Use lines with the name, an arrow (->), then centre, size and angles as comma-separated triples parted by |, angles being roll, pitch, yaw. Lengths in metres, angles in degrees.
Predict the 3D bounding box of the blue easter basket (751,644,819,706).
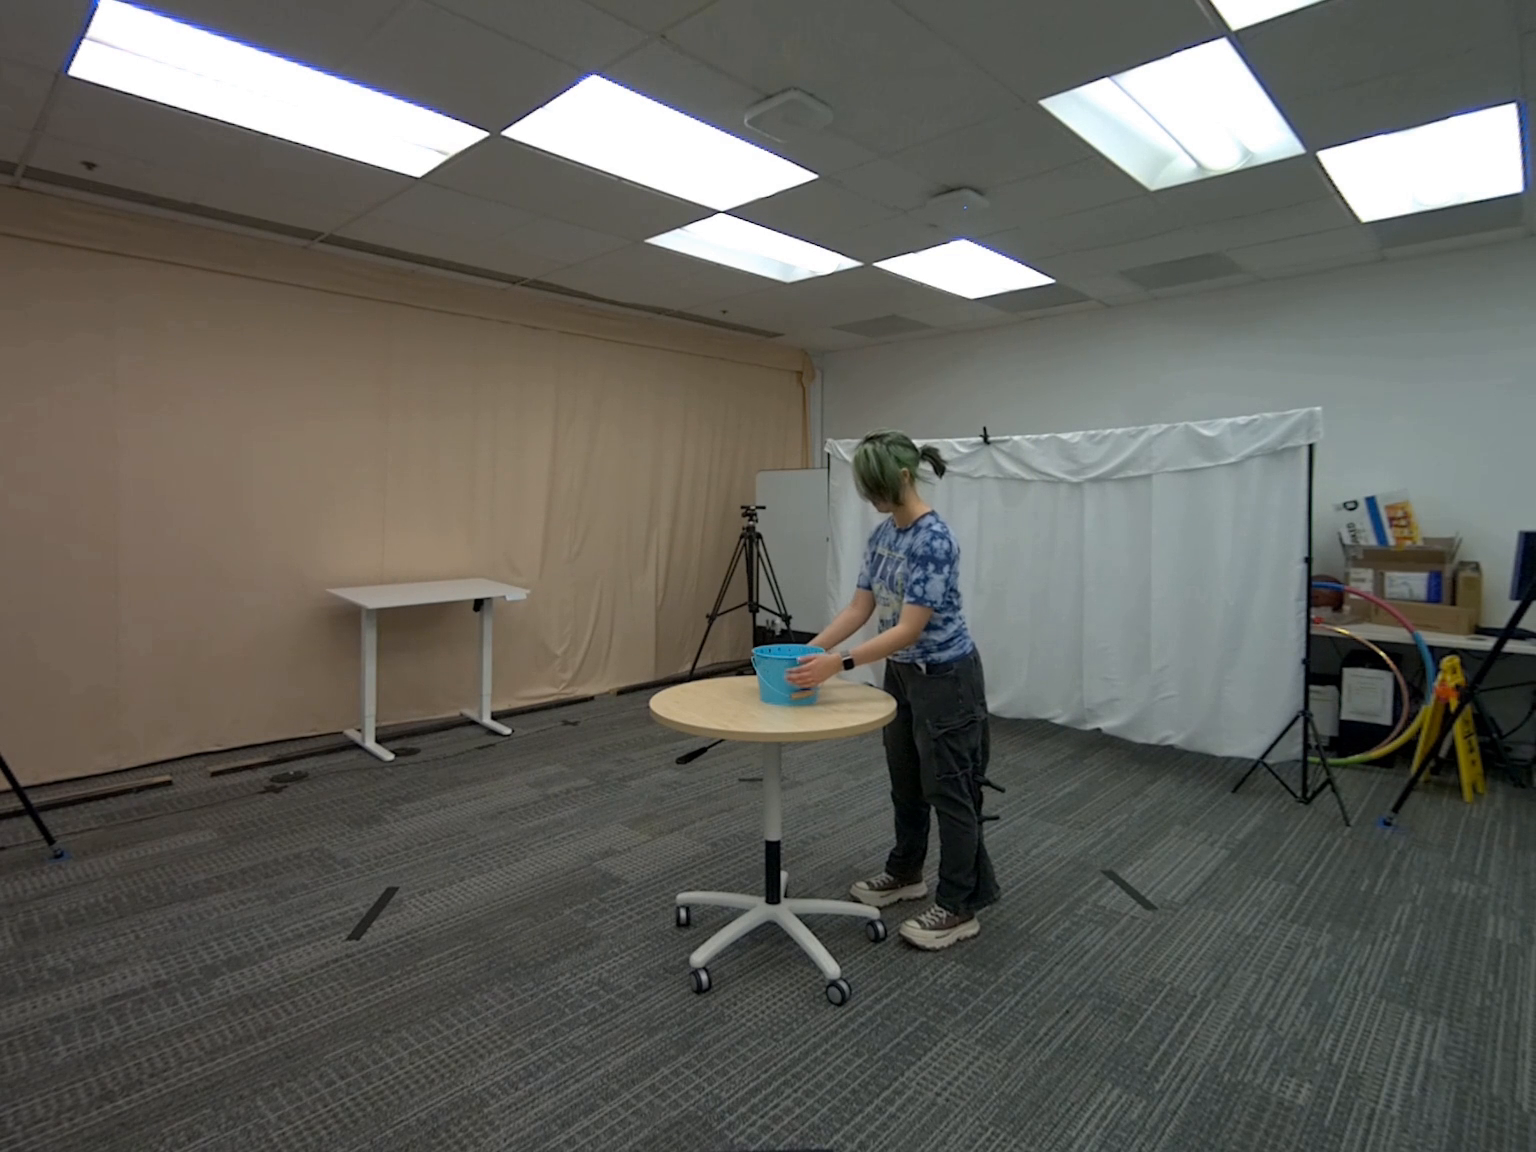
blue easter basket -> 0.074, 0.319, 2.630 | 0.243, 0.155, 0.244 | -1, 3, -2
